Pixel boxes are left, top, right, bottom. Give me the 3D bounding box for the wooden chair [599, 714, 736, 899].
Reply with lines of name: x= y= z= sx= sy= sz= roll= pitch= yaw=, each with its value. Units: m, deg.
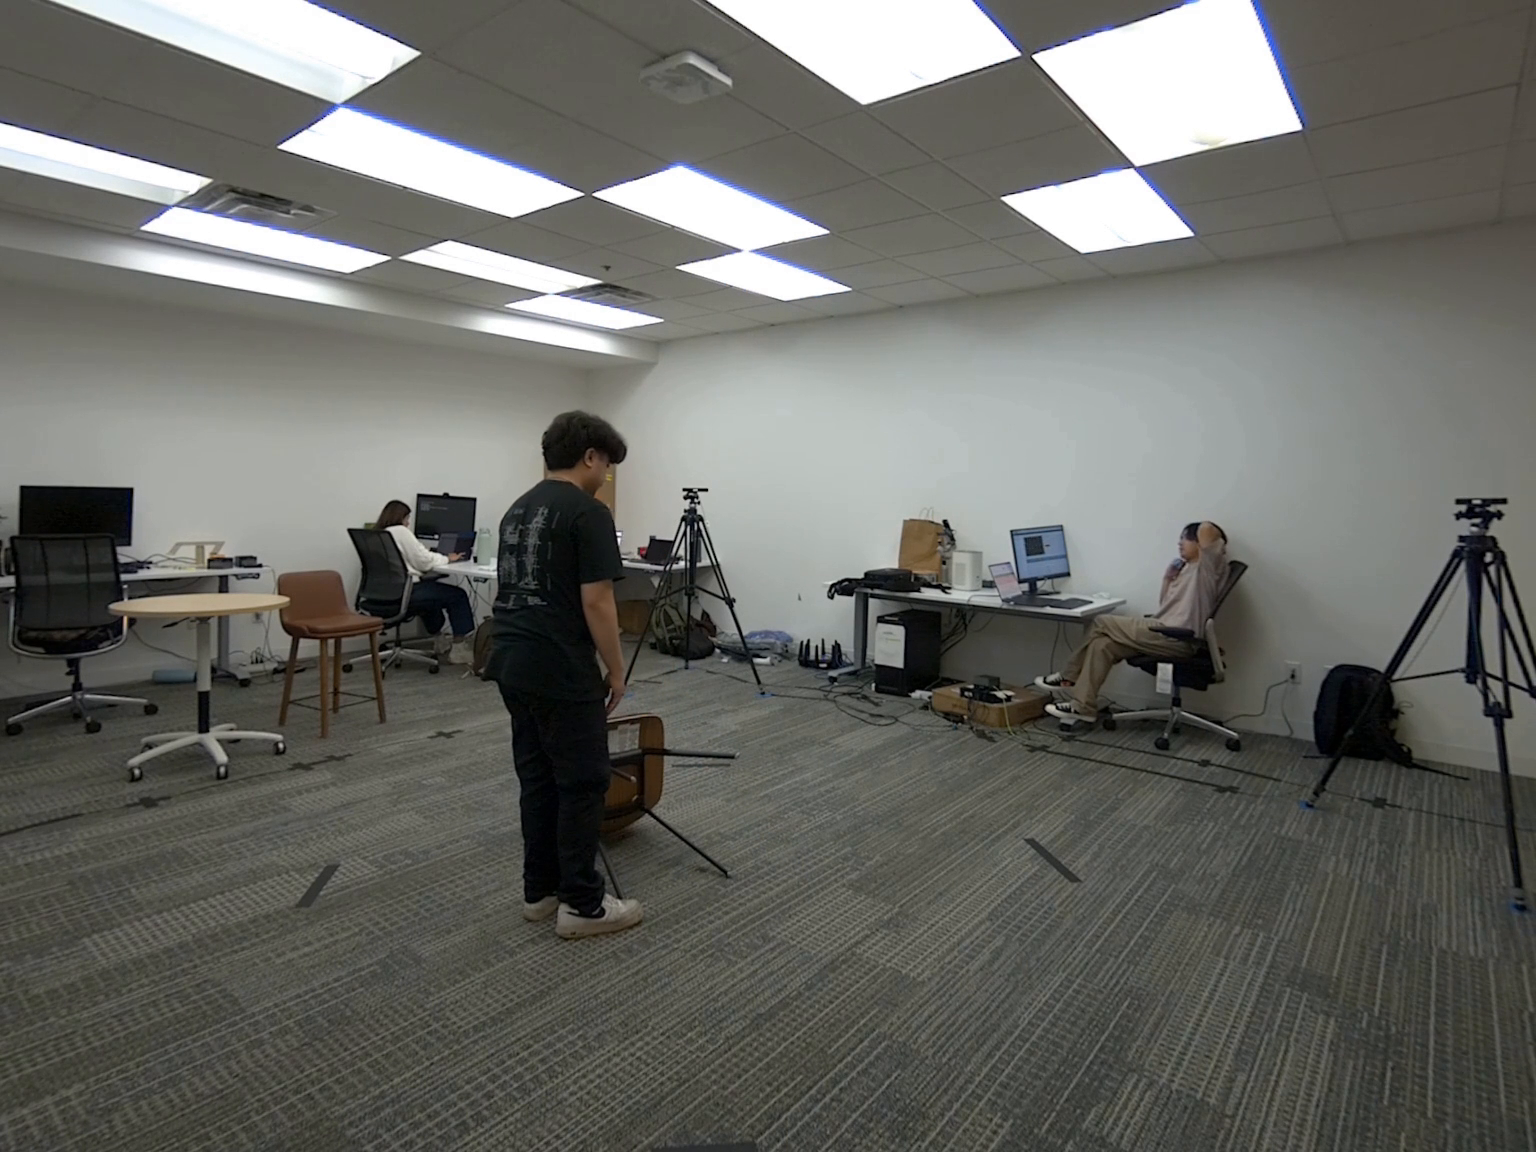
wooden chair: x=-0.574 y=0.798 z=3.224 sx=0.464 sy=0.521 sz=0.907 roll=-3 pitch=5 yaw=-39
